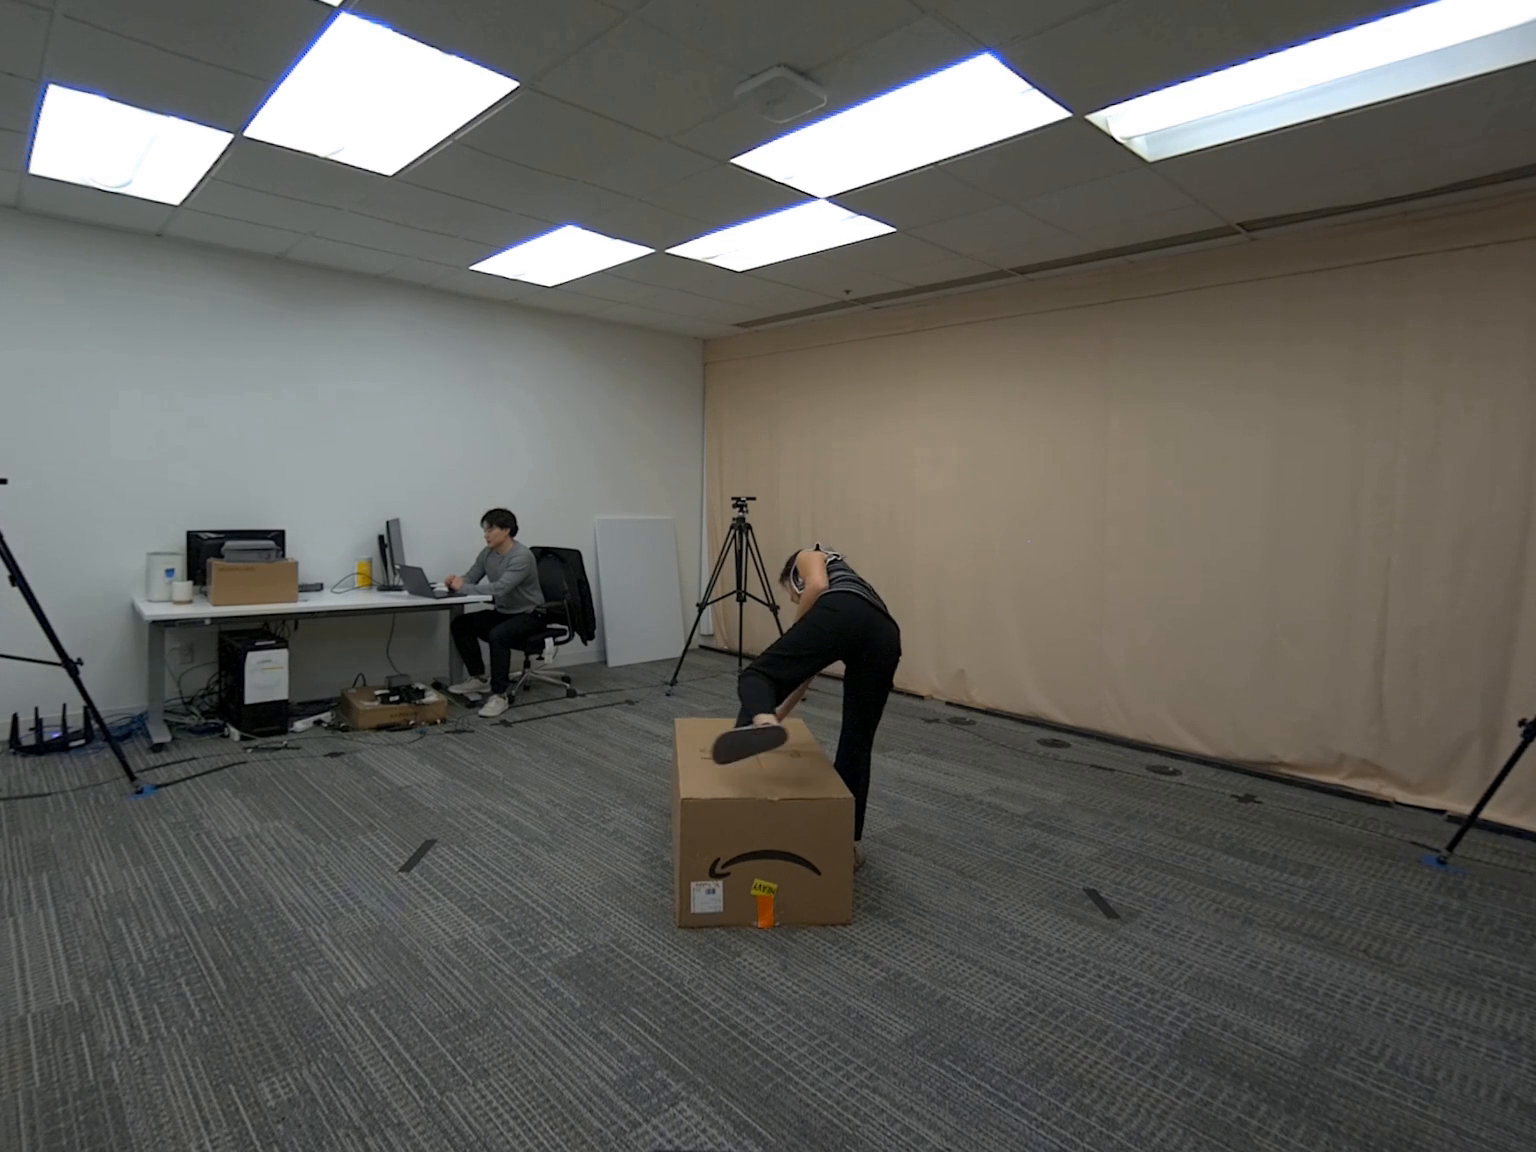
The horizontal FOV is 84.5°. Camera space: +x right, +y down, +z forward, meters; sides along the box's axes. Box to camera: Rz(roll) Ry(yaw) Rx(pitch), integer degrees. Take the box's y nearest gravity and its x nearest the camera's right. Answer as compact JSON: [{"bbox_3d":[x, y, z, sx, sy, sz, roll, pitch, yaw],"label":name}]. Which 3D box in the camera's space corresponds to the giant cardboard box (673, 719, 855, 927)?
[{"bbox_3d":[-0.077,0.888,3.232,0.575,0.425,1.033,1,5,-6],"label":"giant cardboard box"}]
